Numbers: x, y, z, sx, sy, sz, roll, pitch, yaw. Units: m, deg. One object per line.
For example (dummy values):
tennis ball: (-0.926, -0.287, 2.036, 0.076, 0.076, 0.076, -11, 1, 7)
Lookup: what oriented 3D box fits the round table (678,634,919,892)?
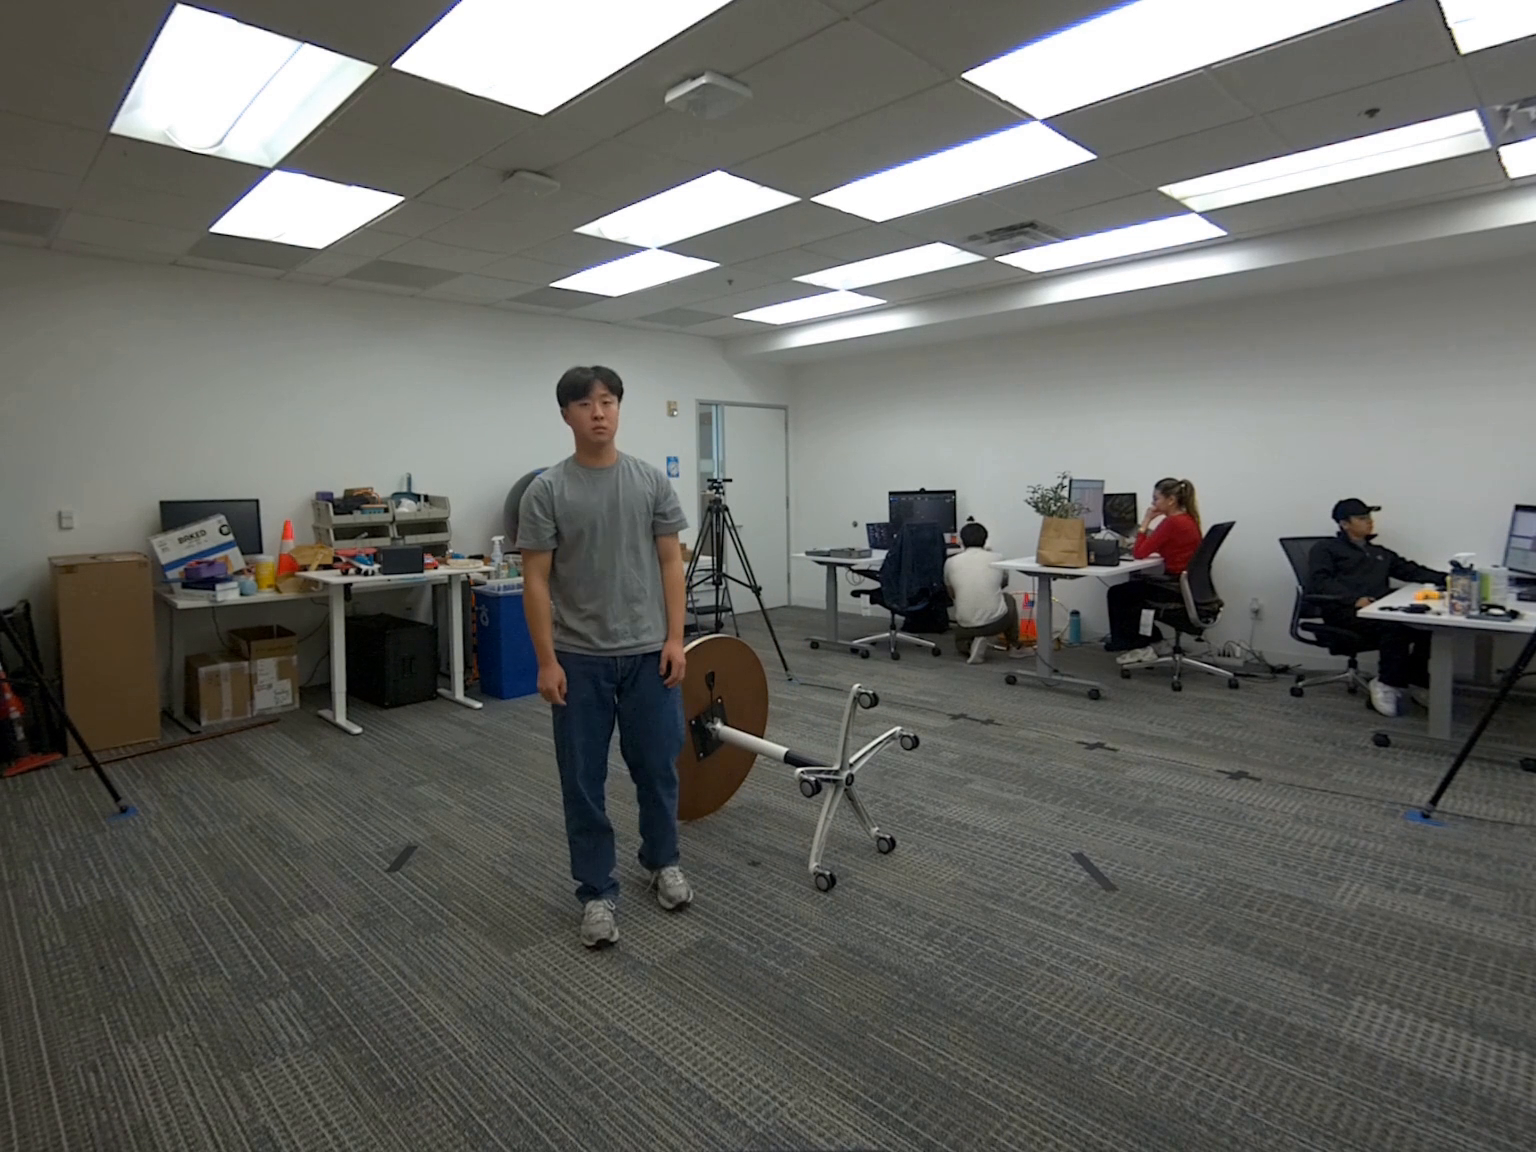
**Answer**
round table: (0.053, 0.680, 3.262, 0.821, 0.759, 0.744, 11, 11, 40)
